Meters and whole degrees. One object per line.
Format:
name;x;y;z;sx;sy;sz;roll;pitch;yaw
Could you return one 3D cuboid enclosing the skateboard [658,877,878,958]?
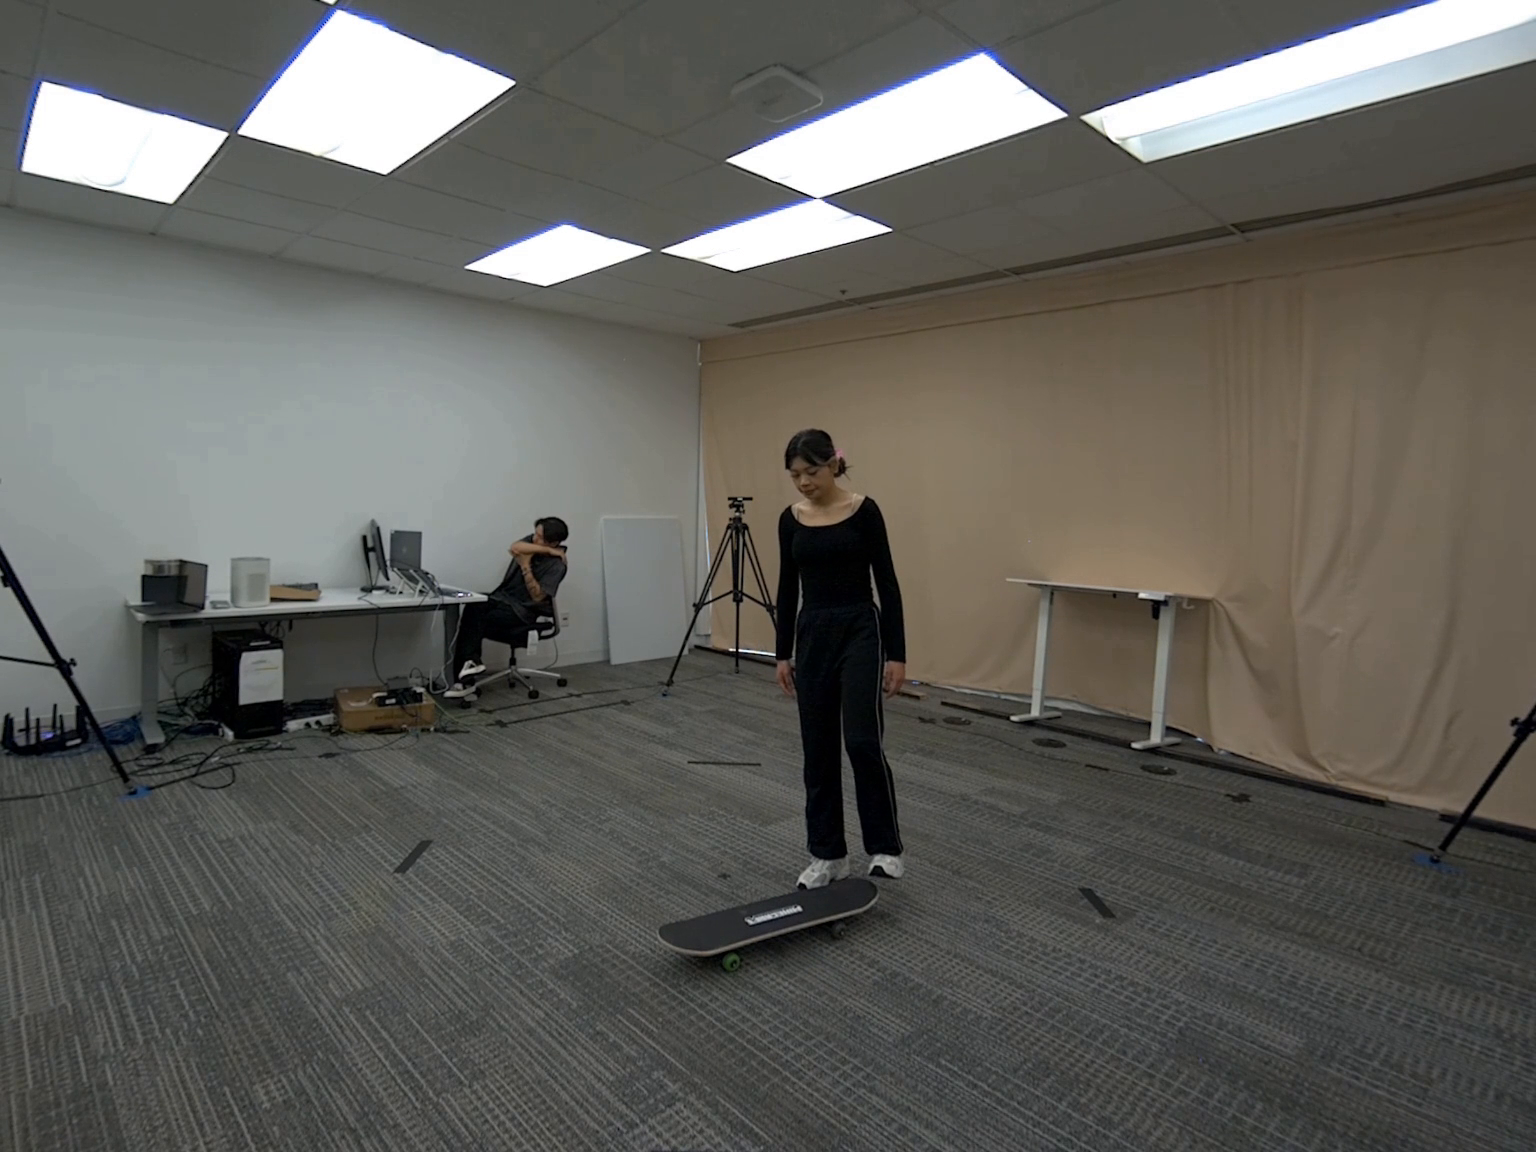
skateboard;0.016;1.098;2.635;0.769;0.110;0.198;-1;6;-30
